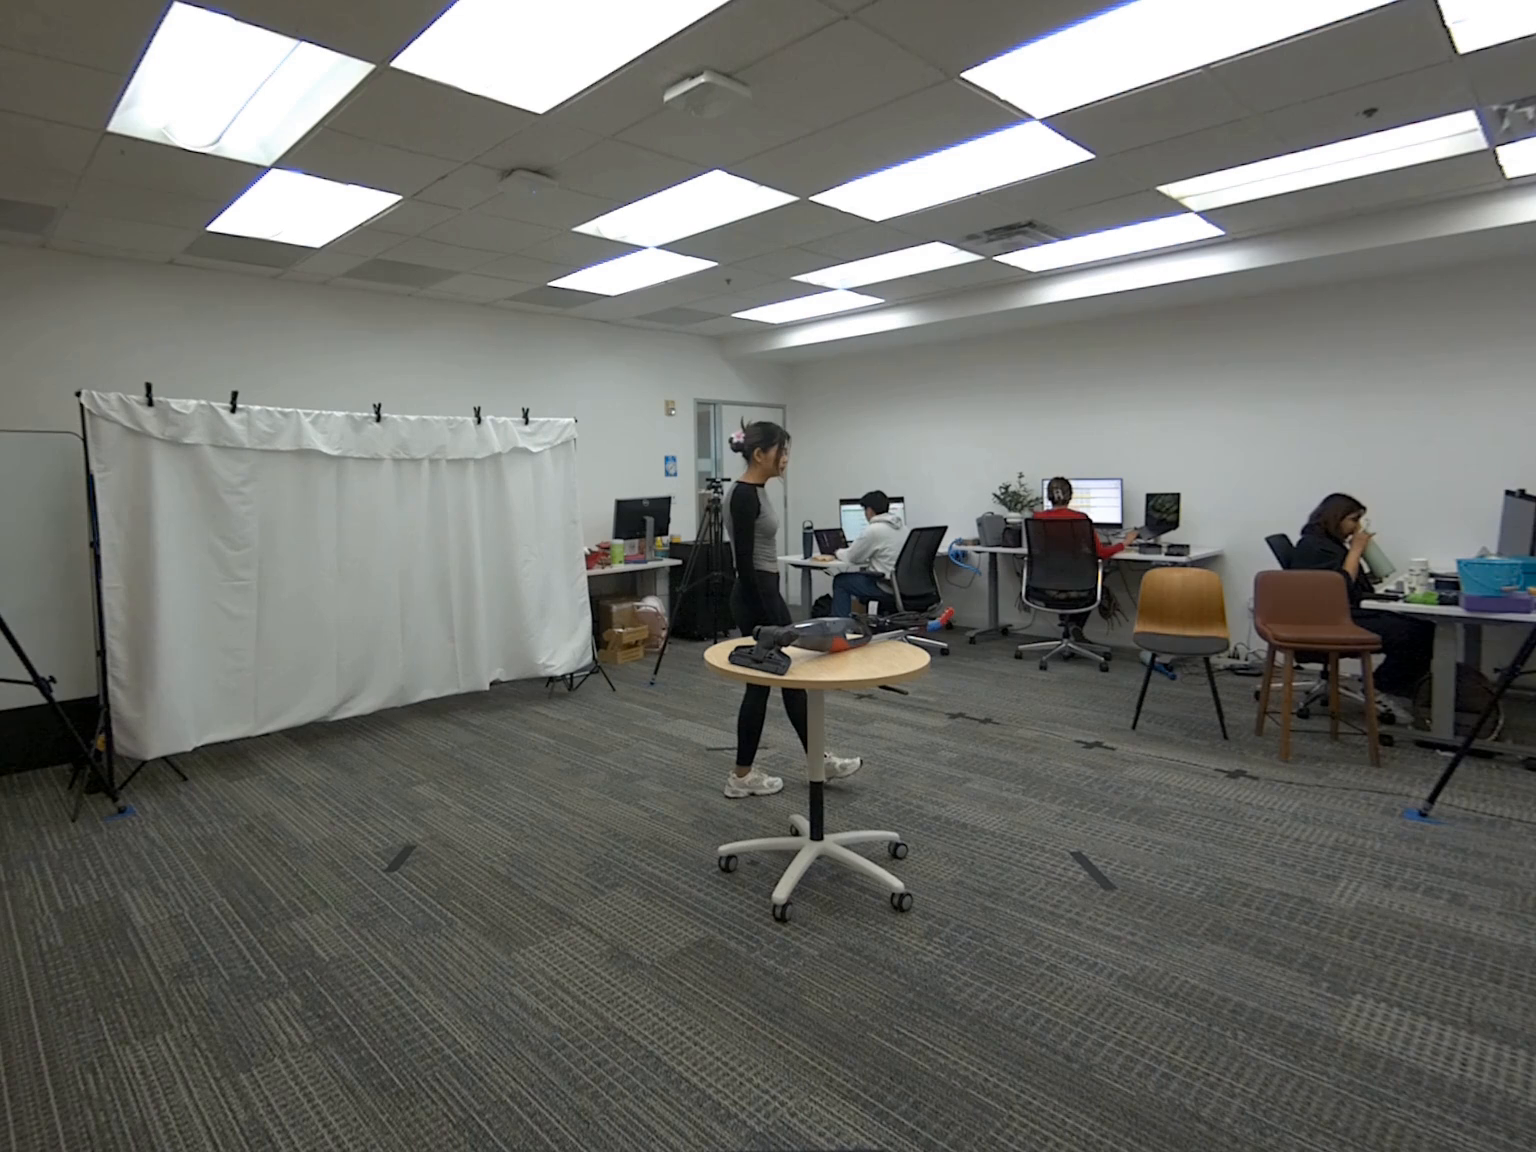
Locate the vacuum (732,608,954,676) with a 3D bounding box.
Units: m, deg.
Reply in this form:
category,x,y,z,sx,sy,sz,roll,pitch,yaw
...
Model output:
category,x,y,z,sx,sy,sz,roll,pitch,yaw
vacuum,0.367,0.197,3.059,1.022,0.143,0.261,-8,10,-43
